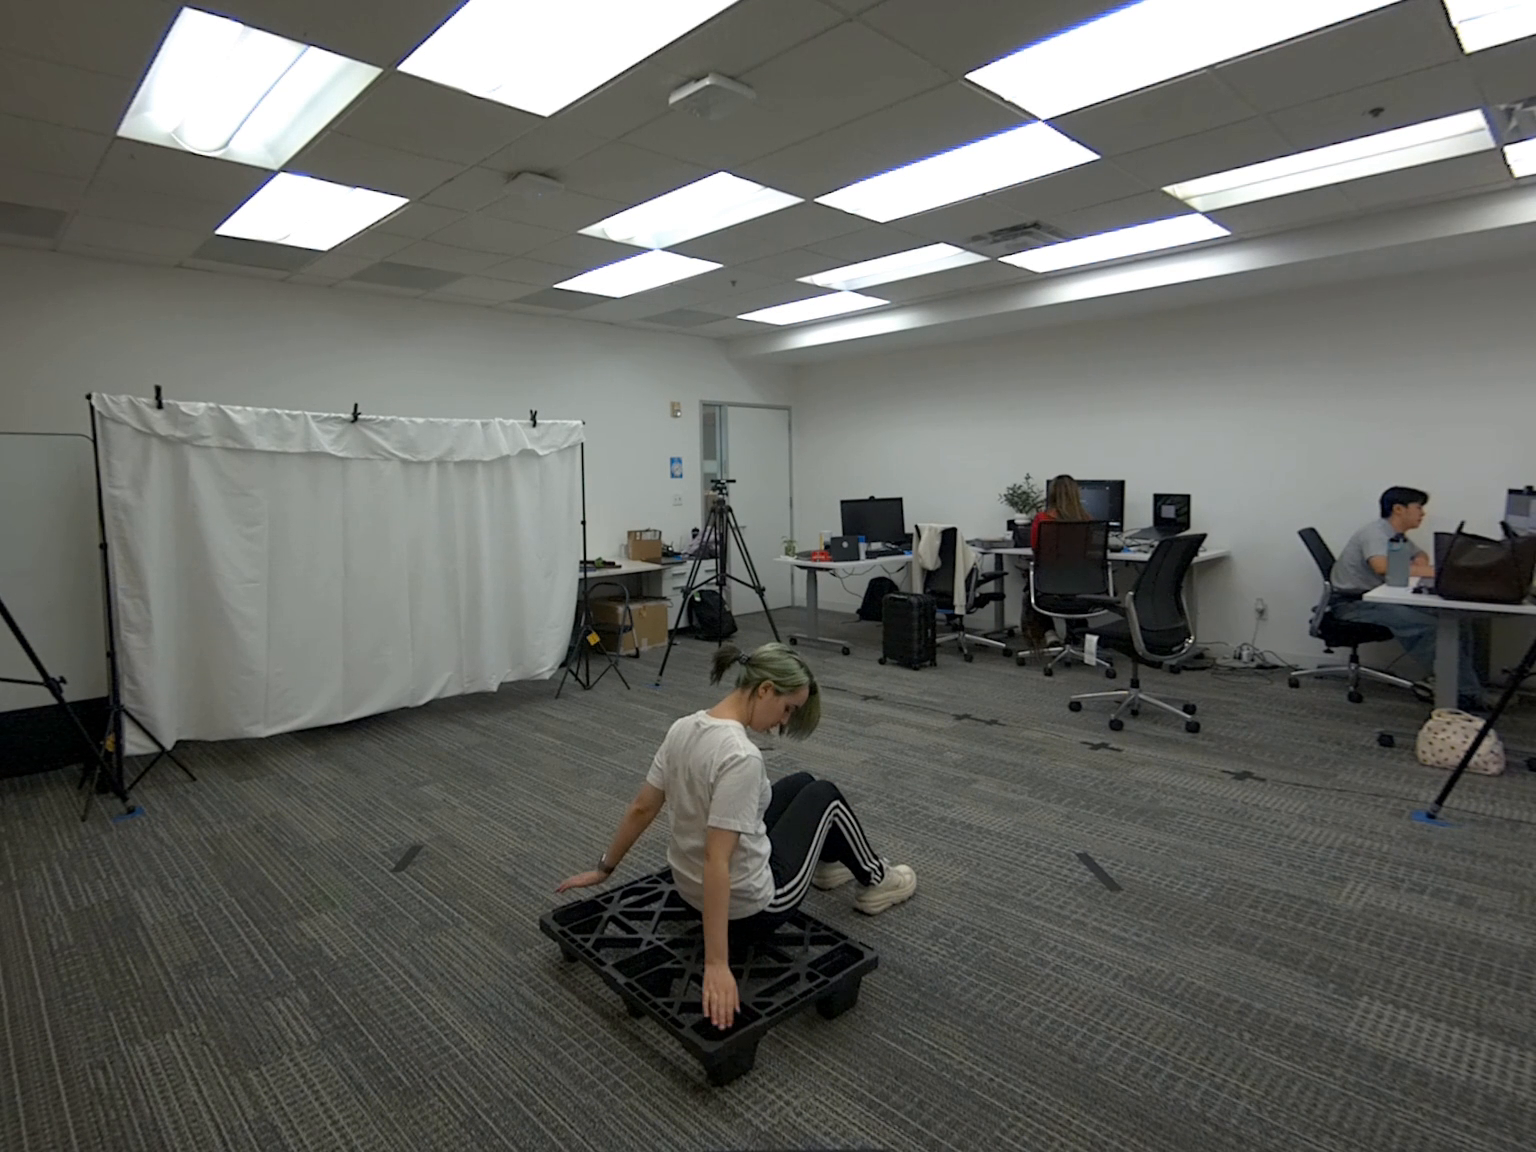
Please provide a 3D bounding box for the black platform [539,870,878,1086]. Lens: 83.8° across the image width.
[{"bbox_3d":[-0.184,1.067,2.397,0.589,0.142,0.831,-6,8,-40],"label":"black platform"}]
